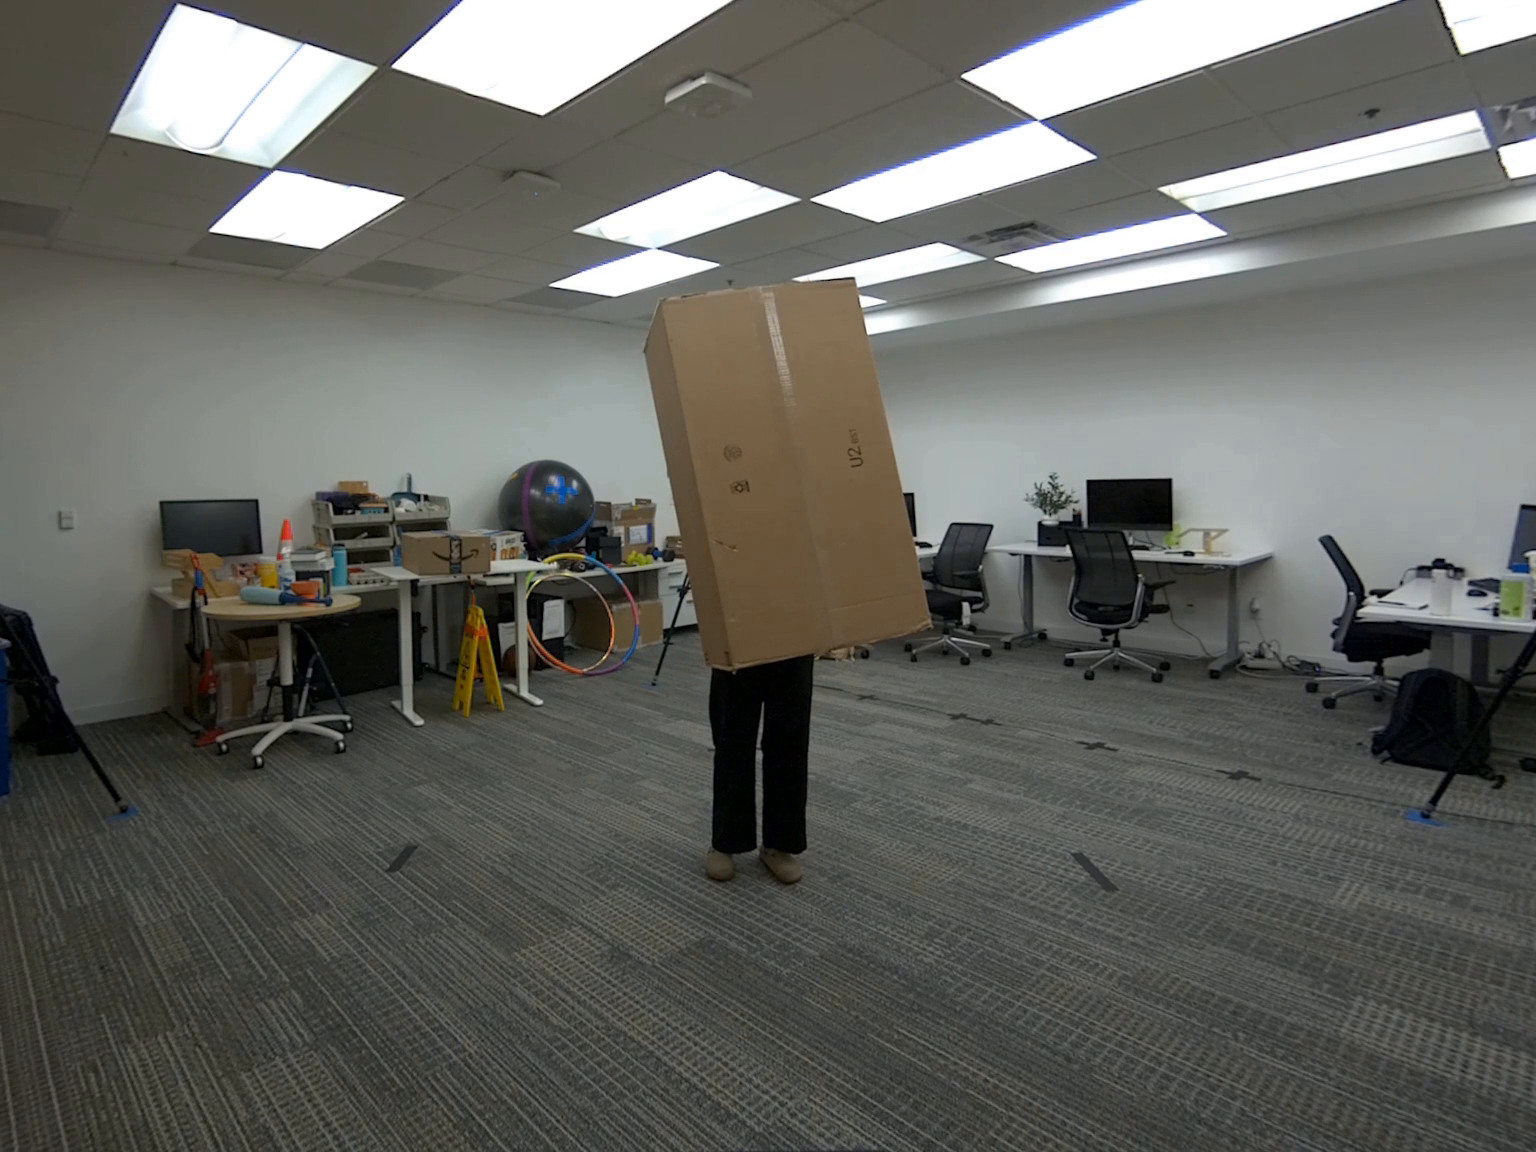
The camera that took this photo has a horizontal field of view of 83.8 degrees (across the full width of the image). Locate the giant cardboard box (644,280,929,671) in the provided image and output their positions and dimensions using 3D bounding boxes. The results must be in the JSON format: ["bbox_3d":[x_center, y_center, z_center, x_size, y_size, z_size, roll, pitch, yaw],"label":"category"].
[{"bbox_3d":[0.025,-0.286,2.532,0.572,1.031,0.428,-10,-5,-12],"label":"giant cardboard box"}]
